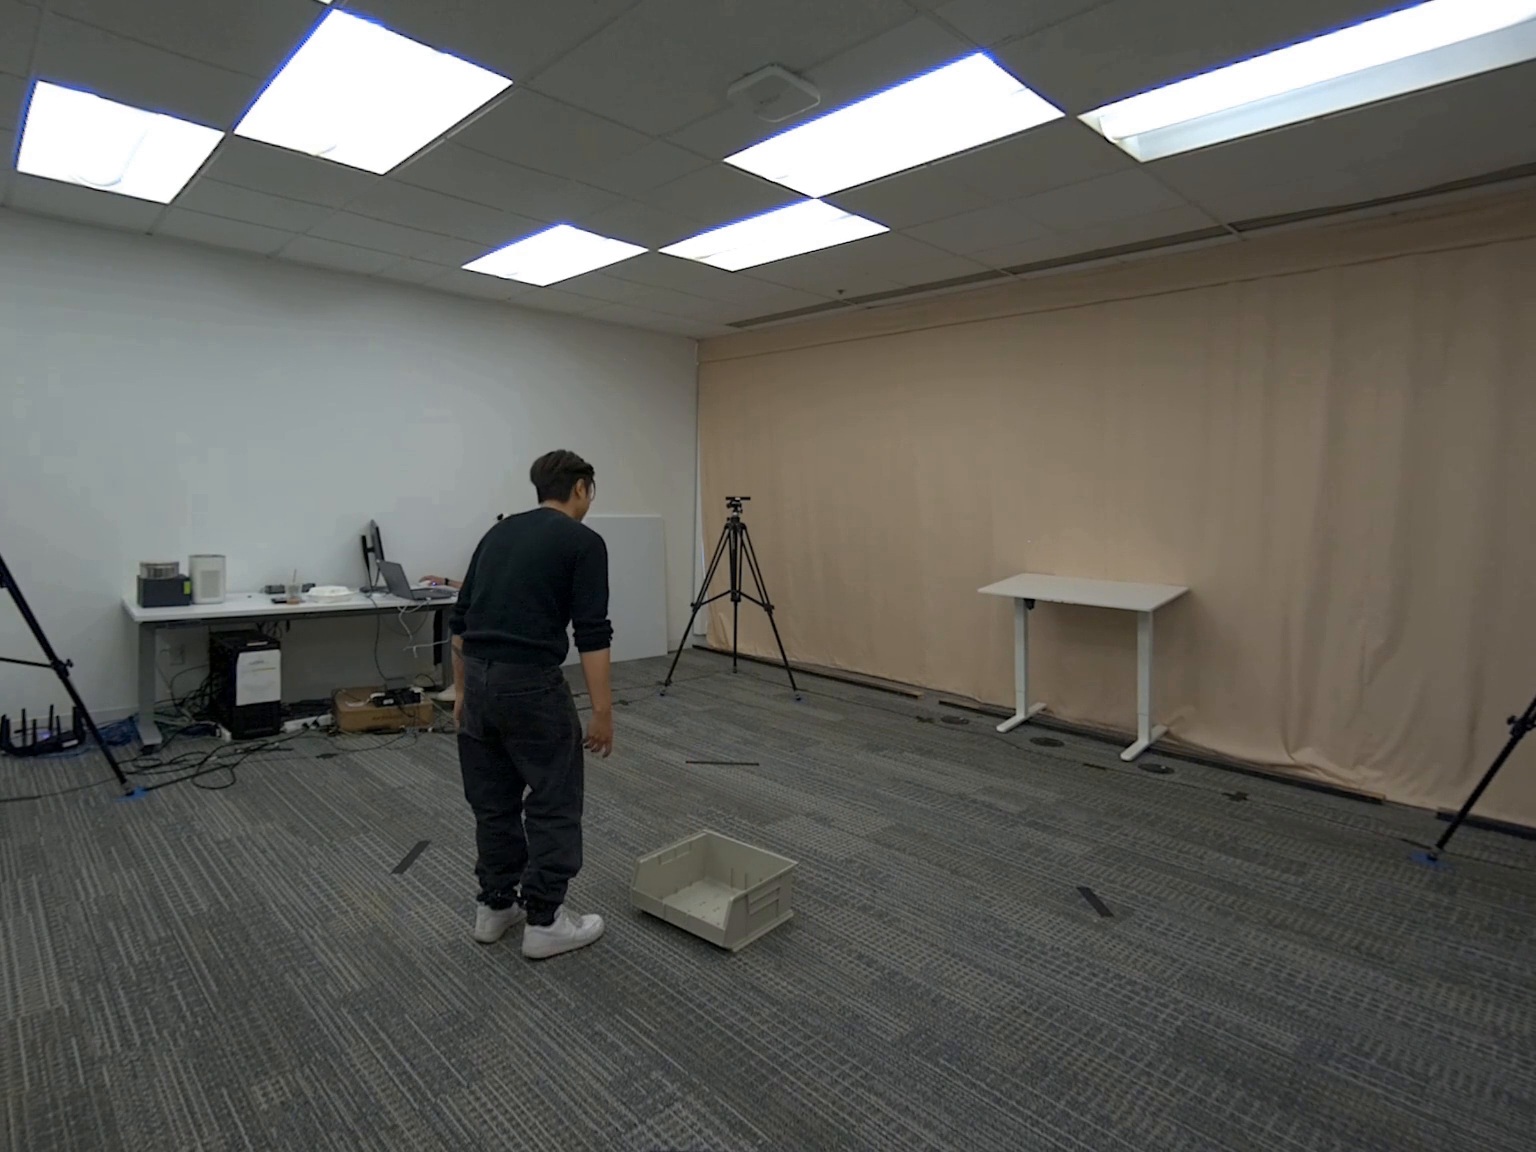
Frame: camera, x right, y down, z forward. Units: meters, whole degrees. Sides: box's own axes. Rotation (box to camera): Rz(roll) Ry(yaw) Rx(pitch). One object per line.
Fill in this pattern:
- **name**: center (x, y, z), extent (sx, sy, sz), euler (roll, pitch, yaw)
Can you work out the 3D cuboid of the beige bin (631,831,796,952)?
- **beige bin**: center (-0.185, 1.044, 2.806), extent (0.433, 0.188, 0.369), euler (4, 5, 38)
